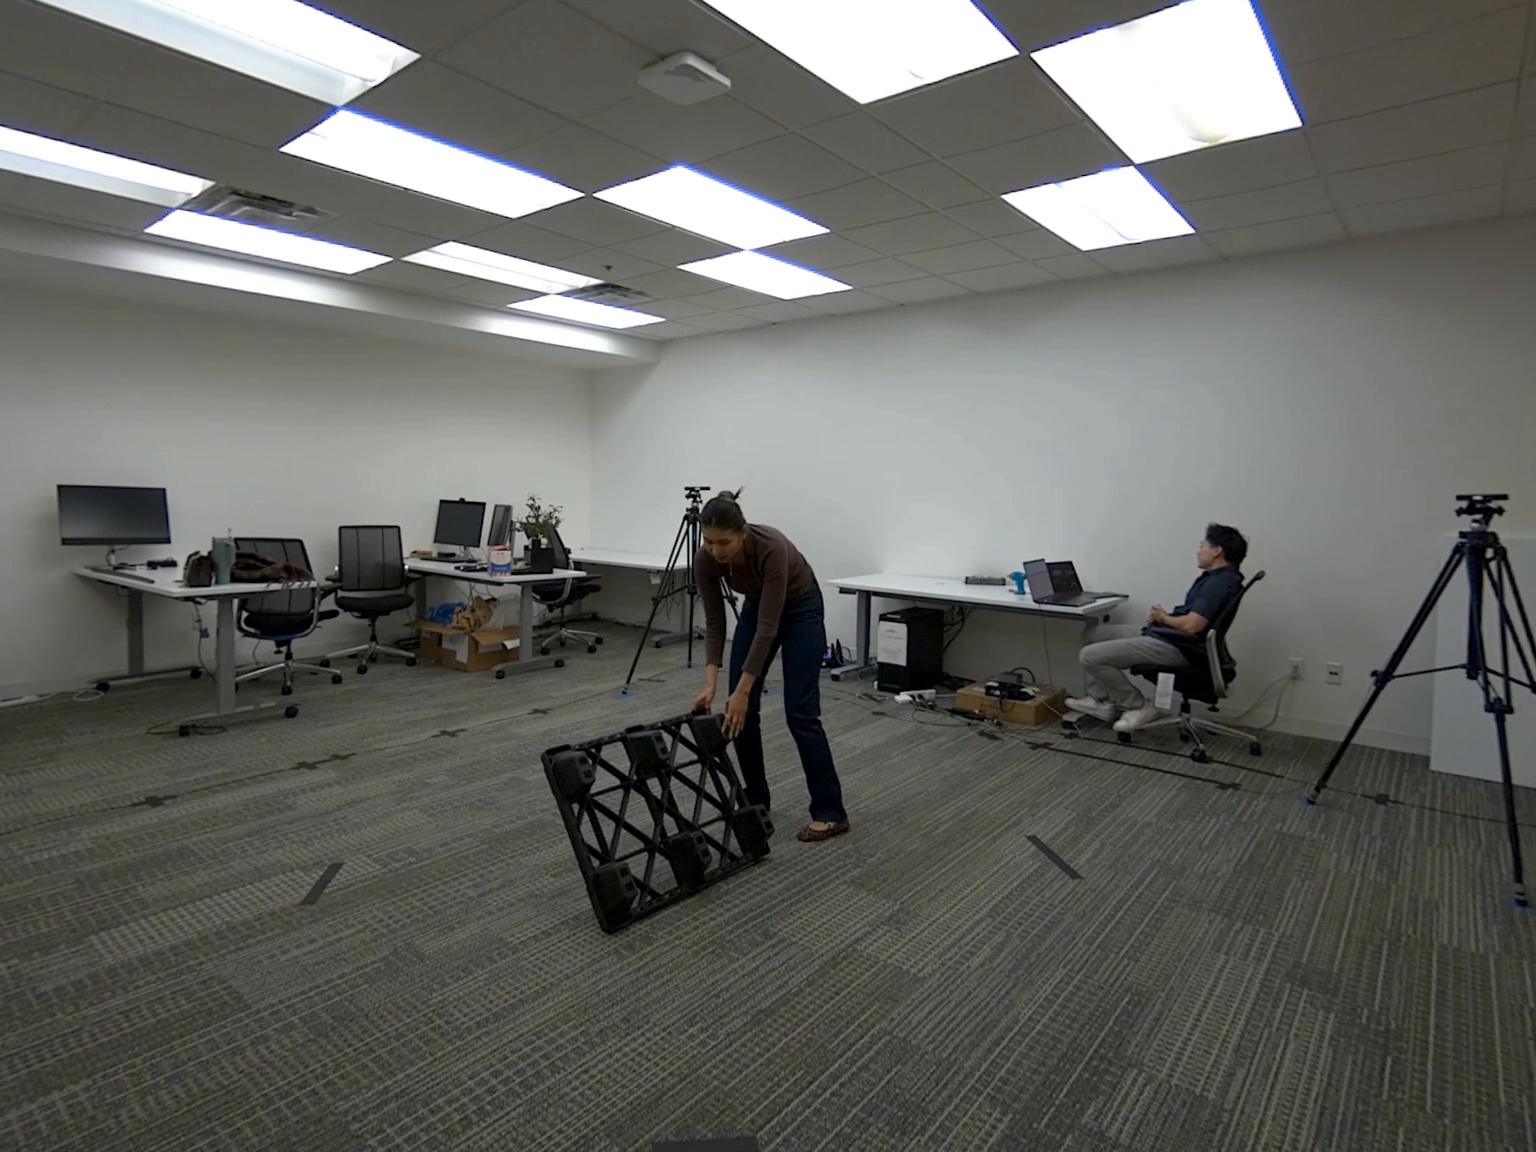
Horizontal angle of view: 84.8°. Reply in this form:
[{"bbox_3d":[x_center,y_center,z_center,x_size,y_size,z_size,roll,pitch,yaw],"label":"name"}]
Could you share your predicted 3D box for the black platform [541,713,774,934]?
[{"bbox_3d":[-0.356,0.796,2.987,0.782,0.621,0.144,-5,-29,-48],"label":"black platform"}]
